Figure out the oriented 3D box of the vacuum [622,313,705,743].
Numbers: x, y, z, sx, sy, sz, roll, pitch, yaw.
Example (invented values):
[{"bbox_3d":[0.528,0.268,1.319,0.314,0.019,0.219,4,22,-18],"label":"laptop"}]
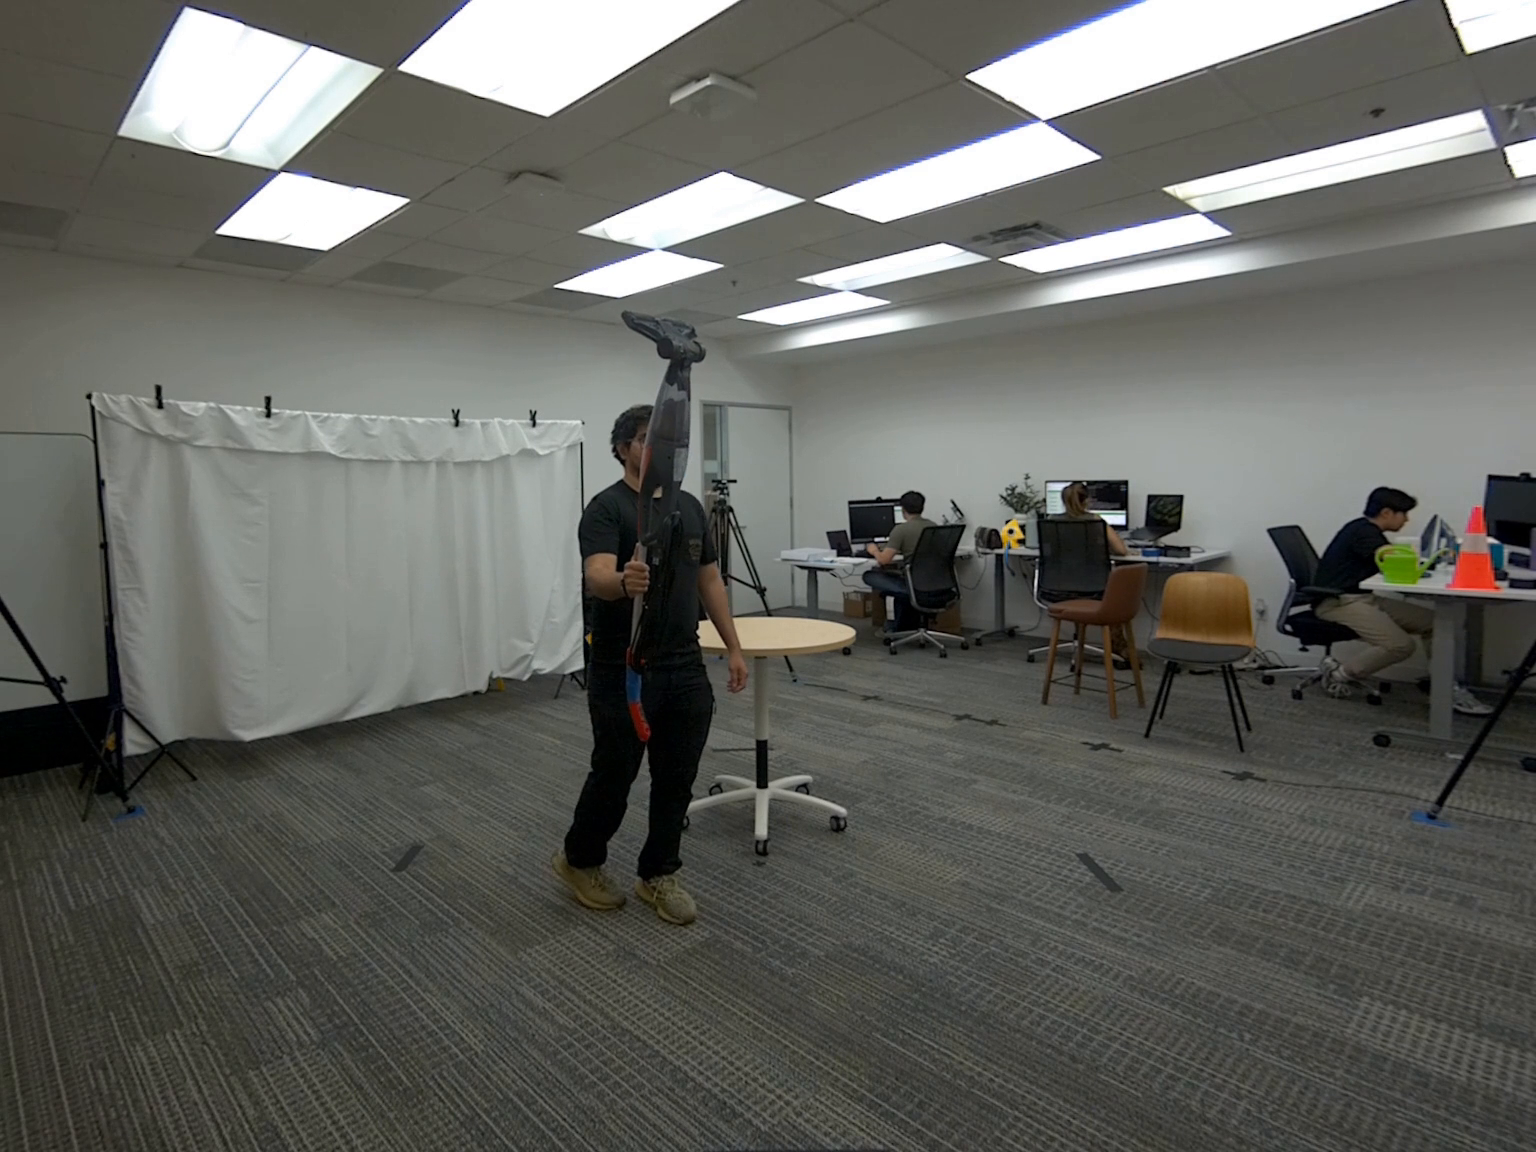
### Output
[{"bbox_3d":[-0.283,-0.088,2.158,0.148,1.043,0.247,9,8,30],"label":"vacuum"}]
